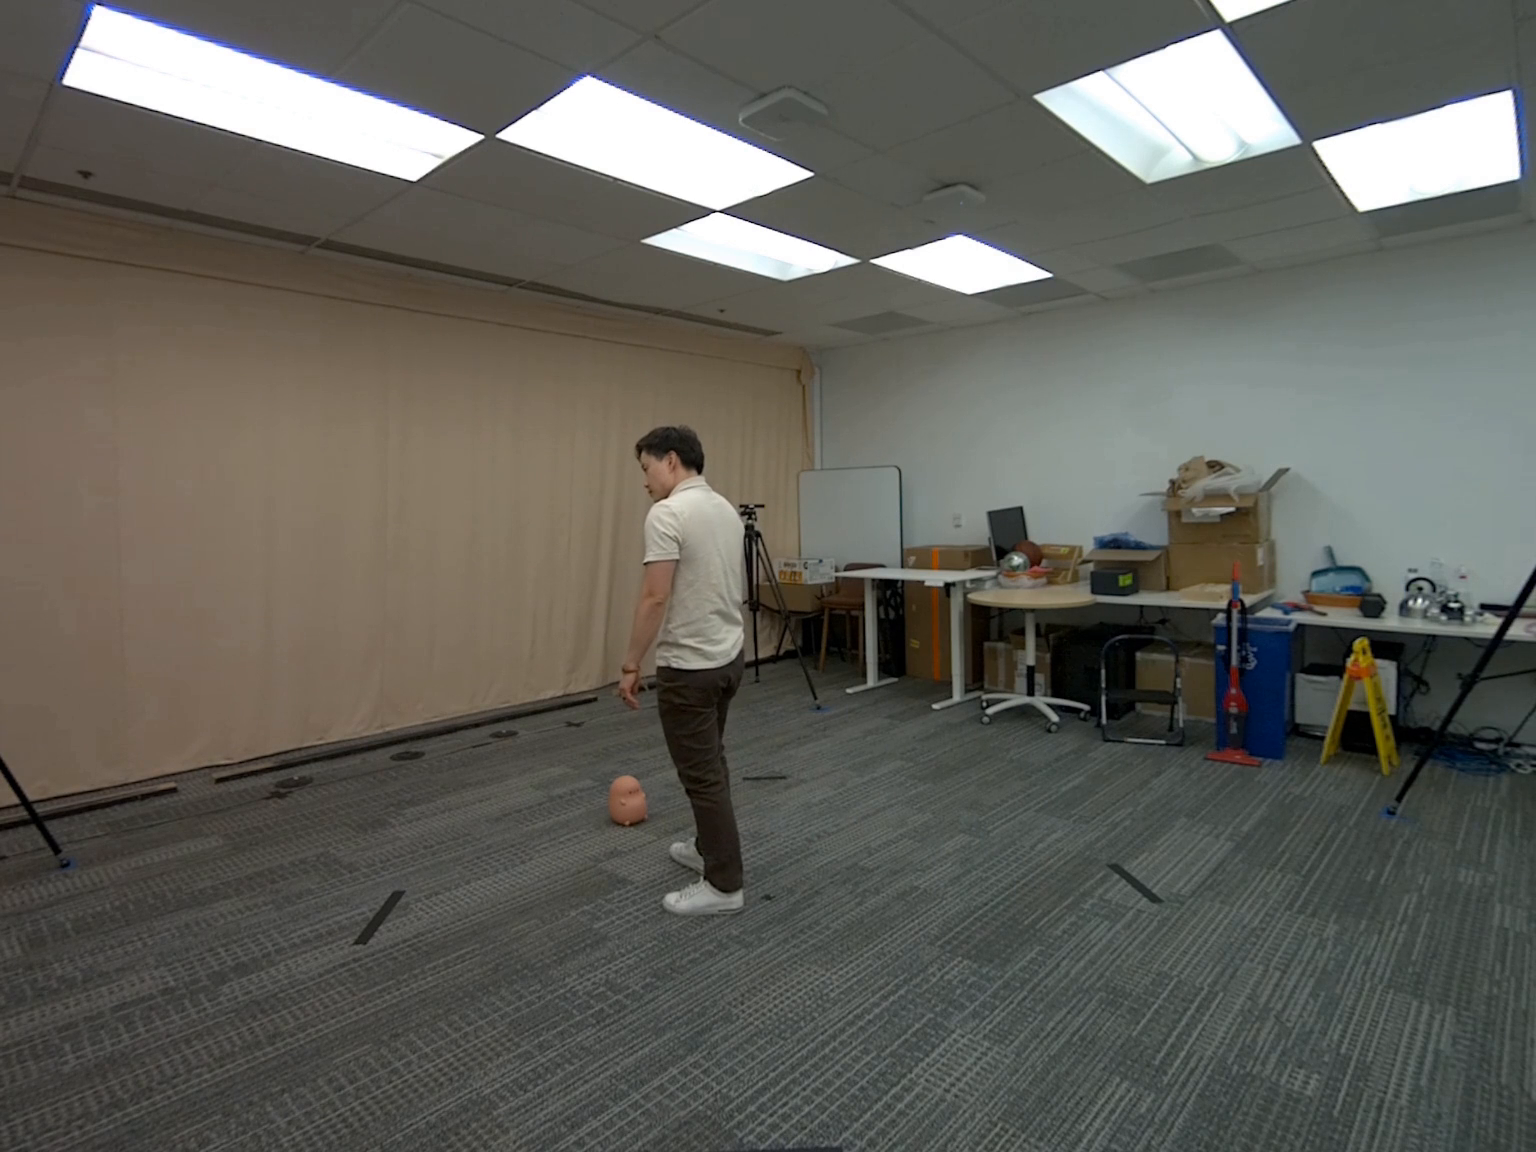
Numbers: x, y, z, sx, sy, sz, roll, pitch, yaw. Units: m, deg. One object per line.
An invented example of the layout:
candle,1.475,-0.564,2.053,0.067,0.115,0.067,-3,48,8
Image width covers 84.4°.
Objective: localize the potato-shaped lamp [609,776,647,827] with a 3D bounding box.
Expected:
potato-shaped lamp,-0.628,0.988,3.740,0.160,0.197,0.177,-8,6,-42
